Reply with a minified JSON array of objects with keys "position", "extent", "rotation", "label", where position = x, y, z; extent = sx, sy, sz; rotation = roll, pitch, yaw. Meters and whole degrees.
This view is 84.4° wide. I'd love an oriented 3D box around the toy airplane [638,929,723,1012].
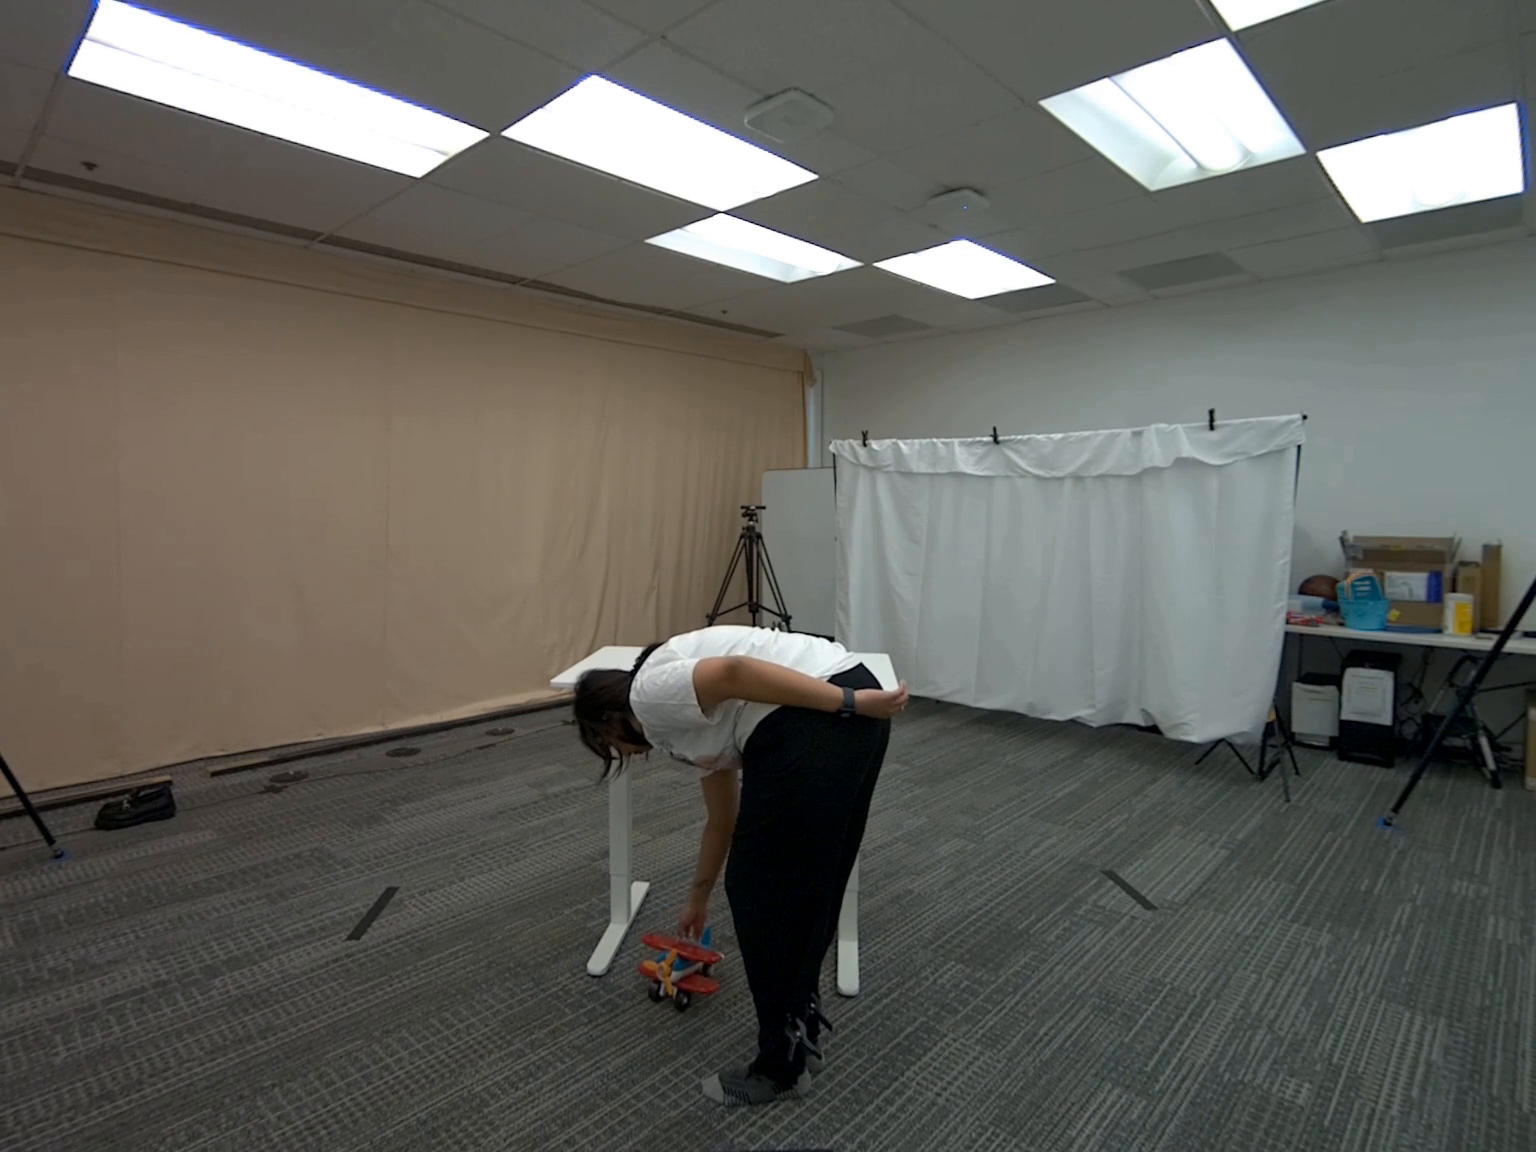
[{"position":[-0.256,1.123,2.423],"extent":[0.251,0.156,0.260],"rotation":[0,5,0],"label":"toy airplane"}]
